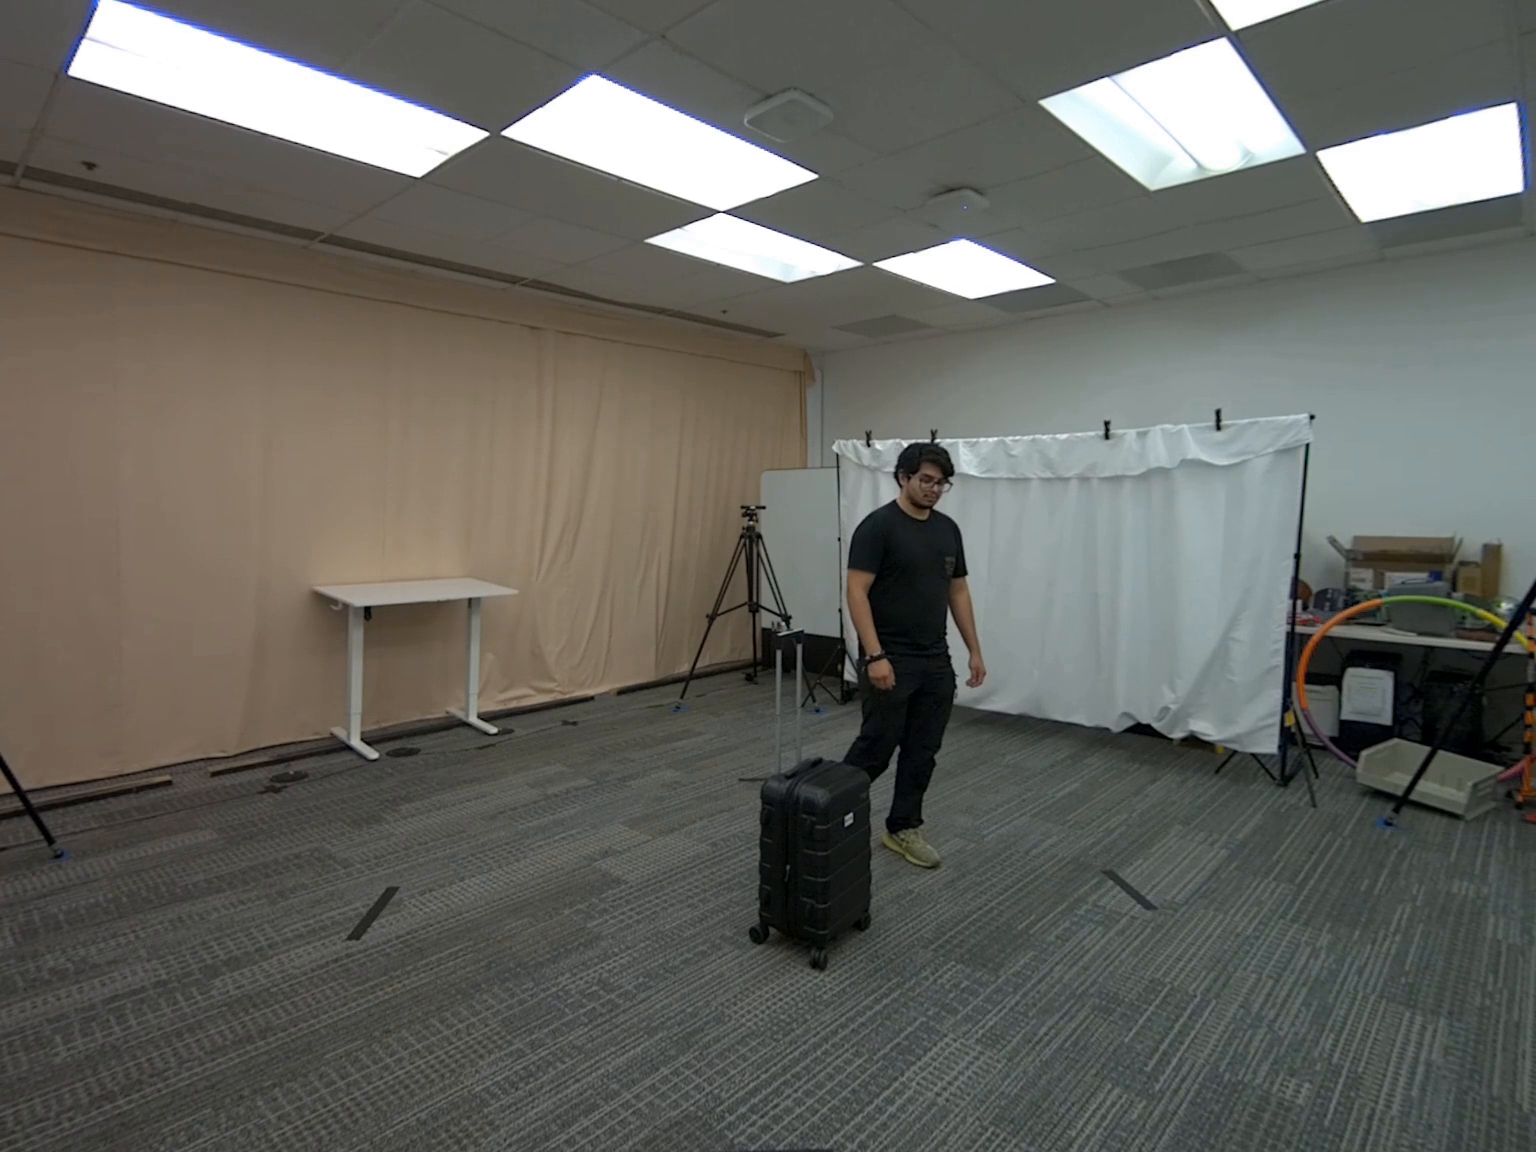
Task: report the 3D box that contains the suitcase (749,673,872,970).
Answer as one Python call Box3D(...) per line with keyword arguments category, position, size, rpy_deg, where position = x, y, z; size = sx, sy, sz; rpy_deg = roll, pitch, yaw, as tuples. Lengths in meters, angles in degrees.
Box3D(category="suitcase", position=(0.165, 0.689, 2.712), size=(0.265, 0.977, 0.373), rpy_deg=(4, 4, 34))
